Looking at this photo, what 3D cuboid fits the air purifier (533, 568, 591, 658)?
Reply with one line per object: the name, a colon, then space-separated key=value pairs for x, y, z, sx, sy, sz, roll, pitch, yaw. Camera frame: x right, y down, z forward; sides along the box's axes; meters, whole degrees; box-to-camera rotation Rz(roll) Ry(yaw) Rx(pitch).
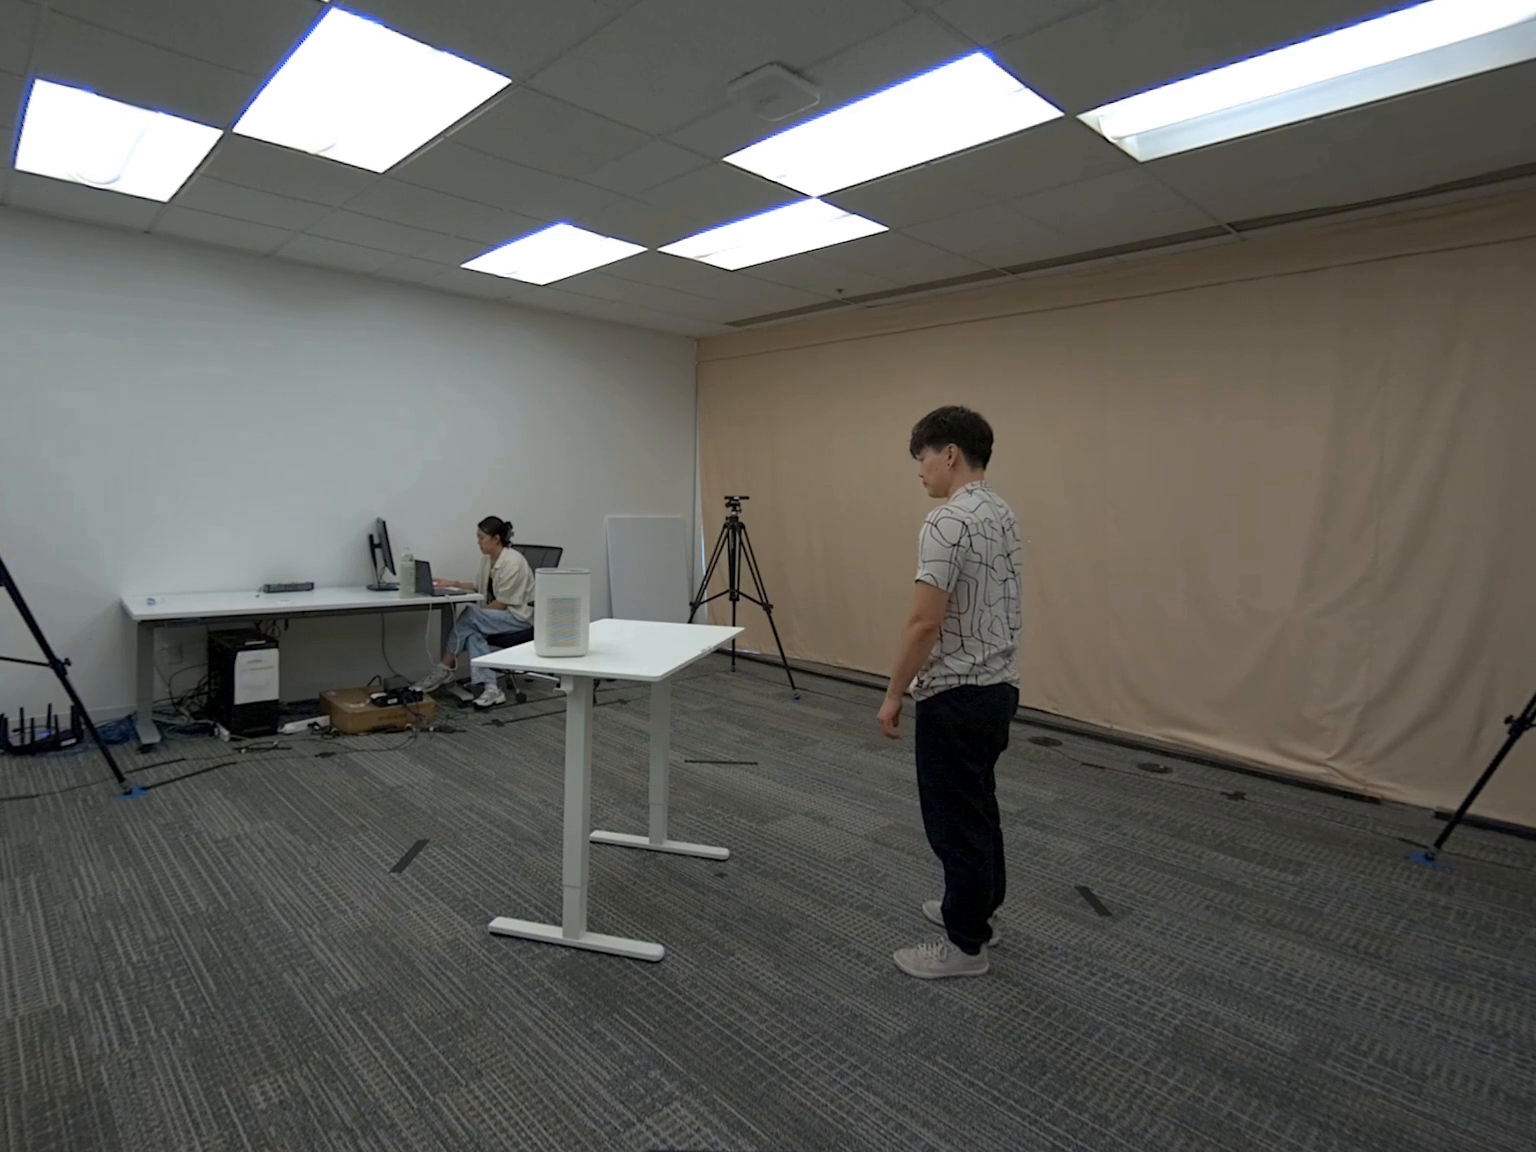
air purifier: x=-0.655 y=0.119 z=2.668 sx=0.170 sy=0.265 sz=0.173 roll=0 pitch=2 yaw=-14
